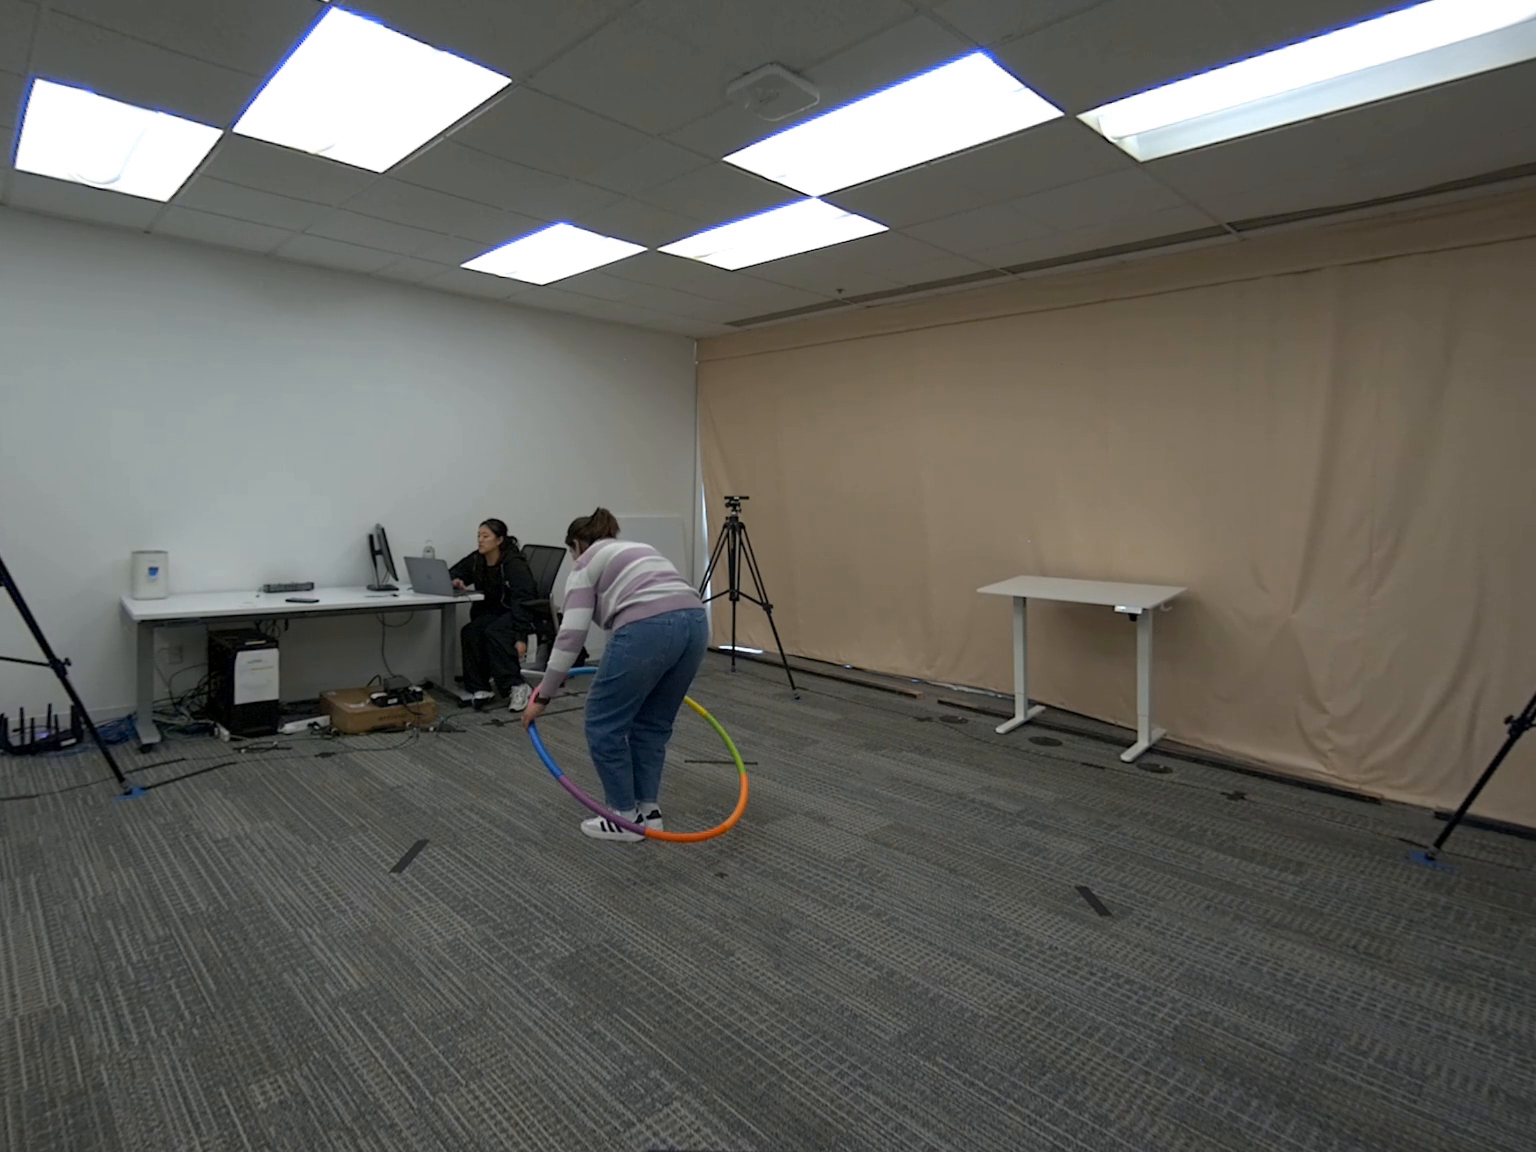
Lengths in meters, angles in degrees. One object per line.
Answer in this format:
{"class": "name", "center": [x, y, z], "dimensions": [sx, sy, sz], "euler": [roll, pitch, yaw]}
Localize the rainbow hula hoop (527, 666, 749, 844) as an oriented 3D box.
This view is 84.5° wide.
{"class": "rainbow hula hoop", "center": [-0.527, 0.696, 3.476], "dimensions": [0.968, 0.035, 0.995], "euler": [23, 22, -11]}
